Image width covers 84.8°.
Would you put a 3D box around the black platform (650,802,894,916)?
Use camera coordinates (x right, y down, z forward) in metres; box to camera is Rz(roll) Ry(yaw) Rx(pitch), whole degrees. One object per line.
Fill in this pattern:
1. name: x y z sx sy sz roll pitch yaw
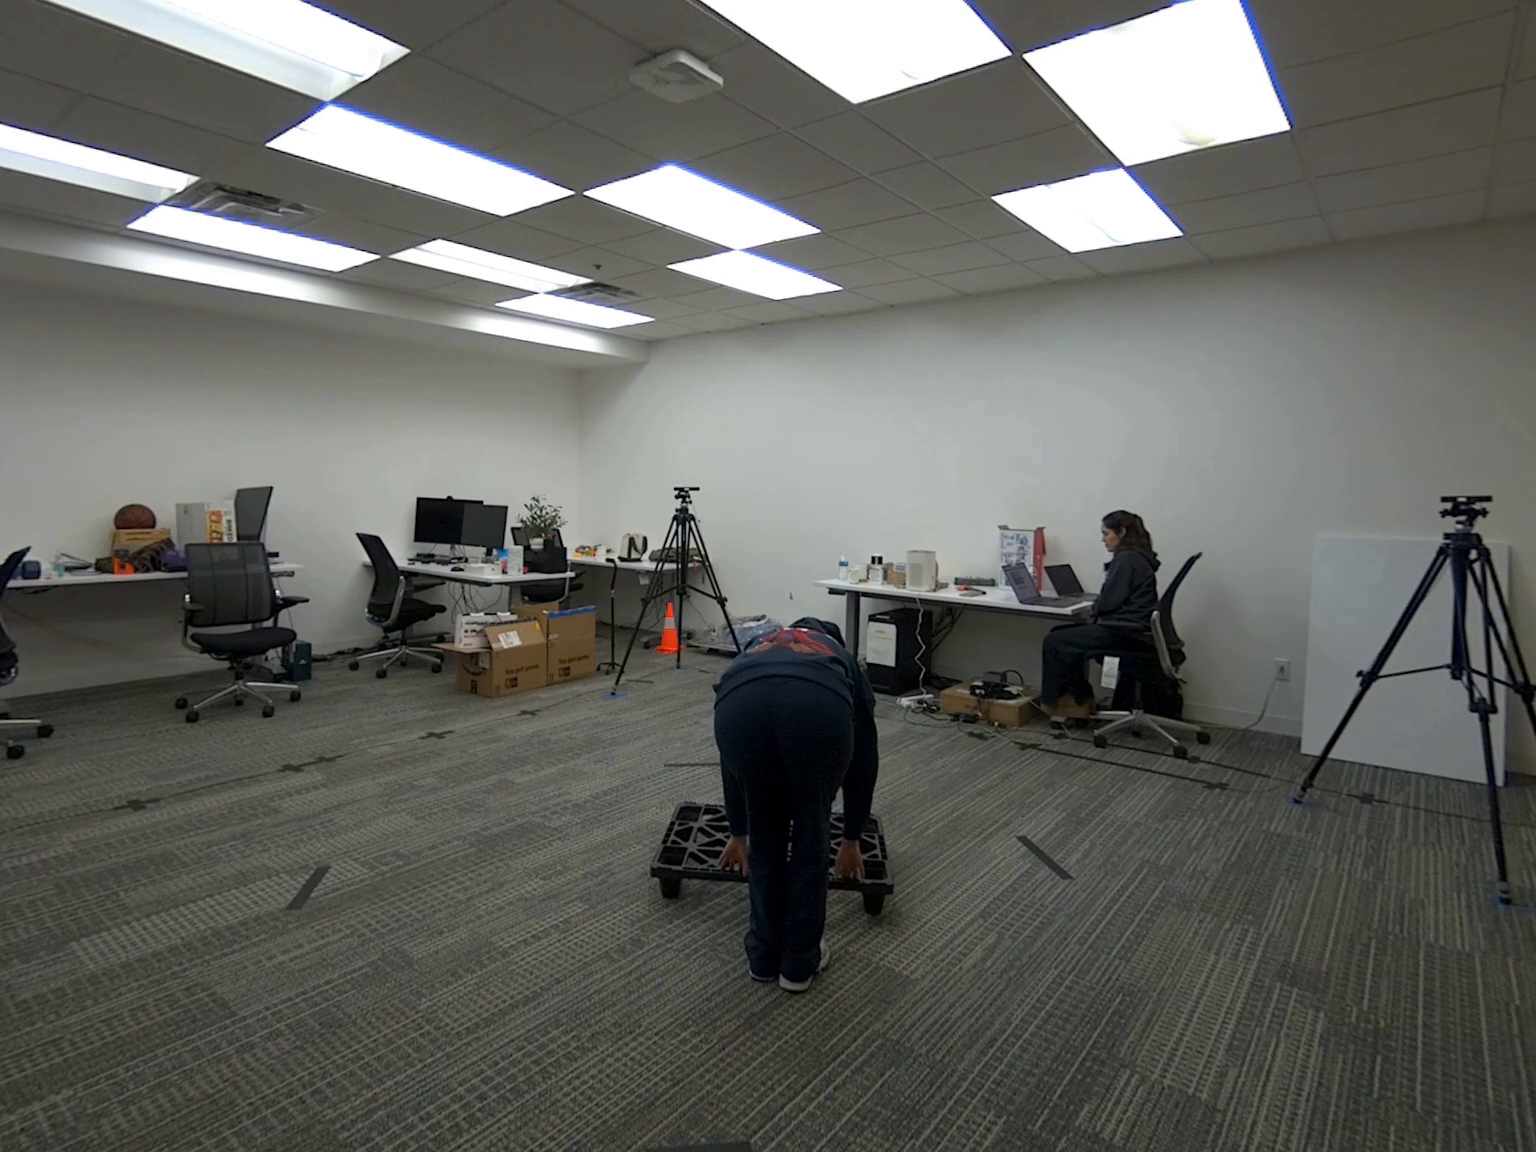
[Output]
1. black platform: 0.015 1.006 3.060 0.811 0.142 0.604 1 6 5
